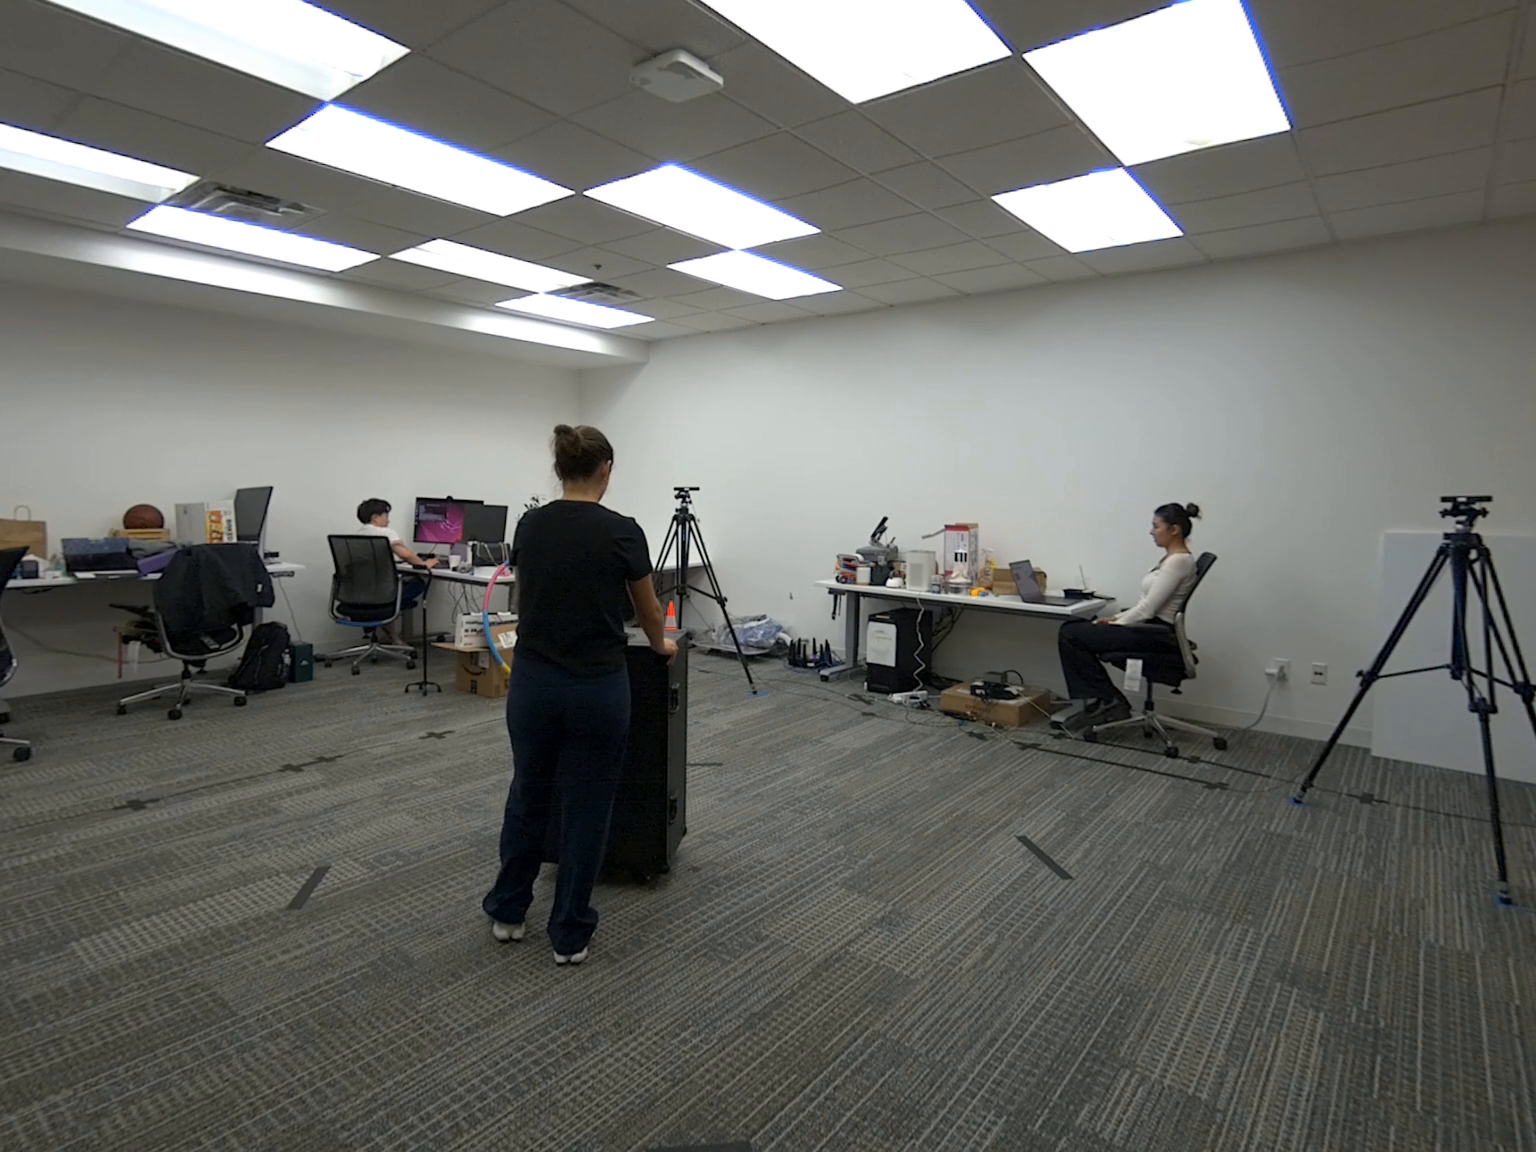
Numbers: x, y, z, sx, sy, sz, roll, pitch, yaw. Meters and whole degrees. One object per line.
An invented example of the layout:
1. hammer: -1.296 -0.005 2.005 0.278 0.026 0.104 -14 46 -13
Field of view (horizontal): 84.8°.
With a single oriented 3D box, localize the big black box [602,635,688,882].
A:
1. big black box: -0.547 0.638 3.125 0.527 0.859 0.393 1 3 9
